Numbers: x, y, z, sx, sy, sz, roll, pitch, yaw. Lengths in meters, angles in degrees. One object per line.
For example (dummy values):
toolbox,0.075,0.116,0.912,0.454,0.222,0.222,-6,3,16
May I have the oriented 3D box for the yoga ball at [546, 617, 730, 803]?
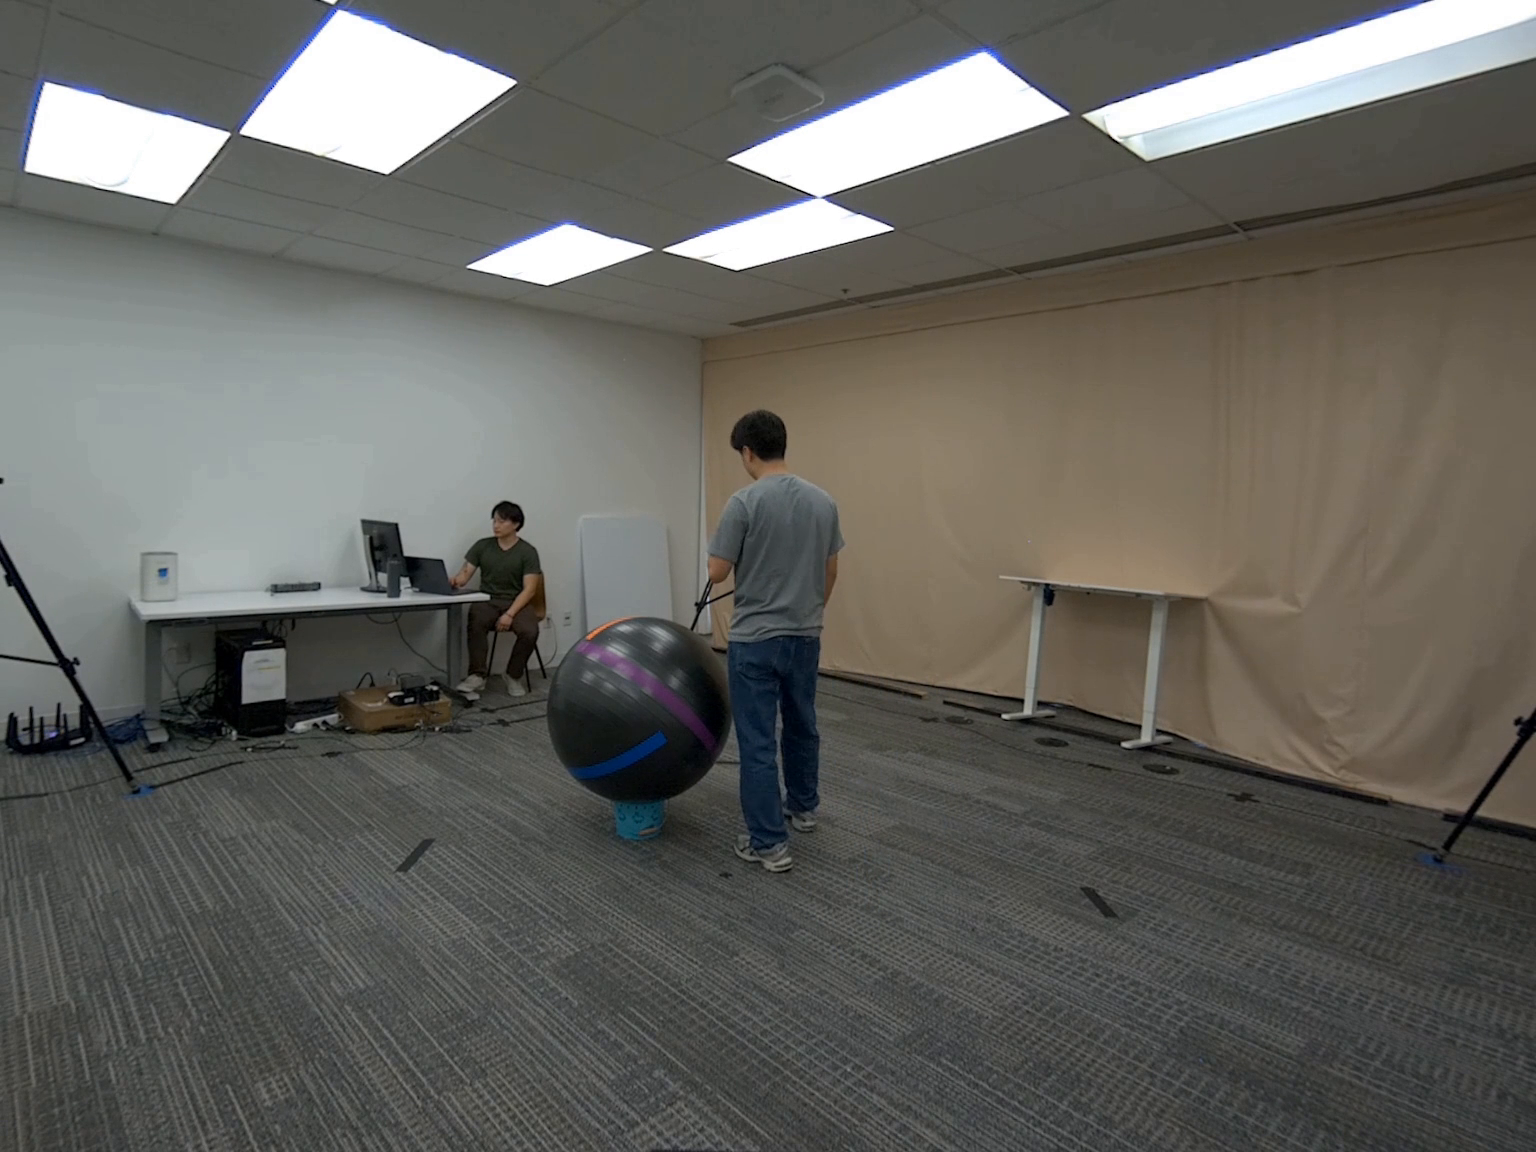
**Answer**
yoga ball,-0.537,0.551,3.493,0.757,0.756,0.761,1,4,-1
